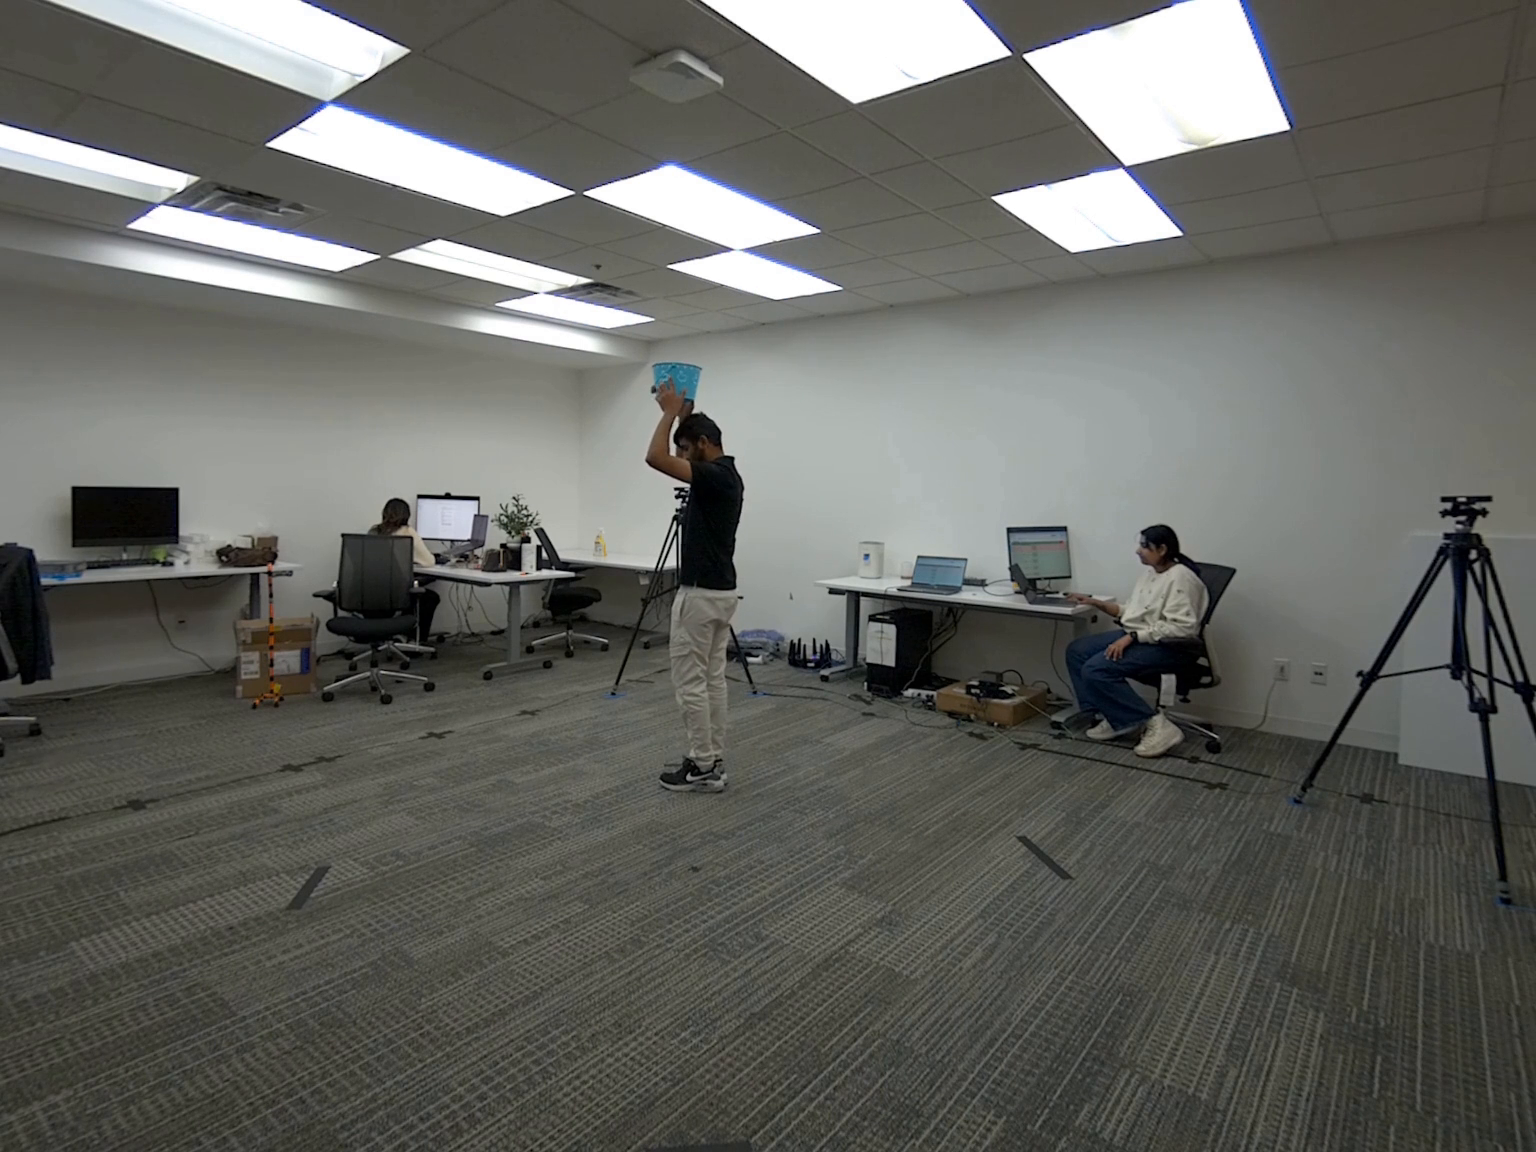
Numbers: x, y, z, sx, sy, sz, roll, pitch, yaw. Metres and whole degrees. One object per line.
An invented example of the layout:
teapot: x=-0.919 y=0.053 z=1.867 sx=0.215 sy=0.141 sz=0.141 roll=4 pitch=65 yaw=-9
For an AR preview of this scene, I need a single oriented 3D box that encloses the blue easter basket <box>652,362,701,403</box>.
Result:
blue easter basket: x=-0.445 y=-0.905 z=3.971 sx=0.243 sy=0.156 sz=0.244 roll=3 pitch=2 yaw=-2
